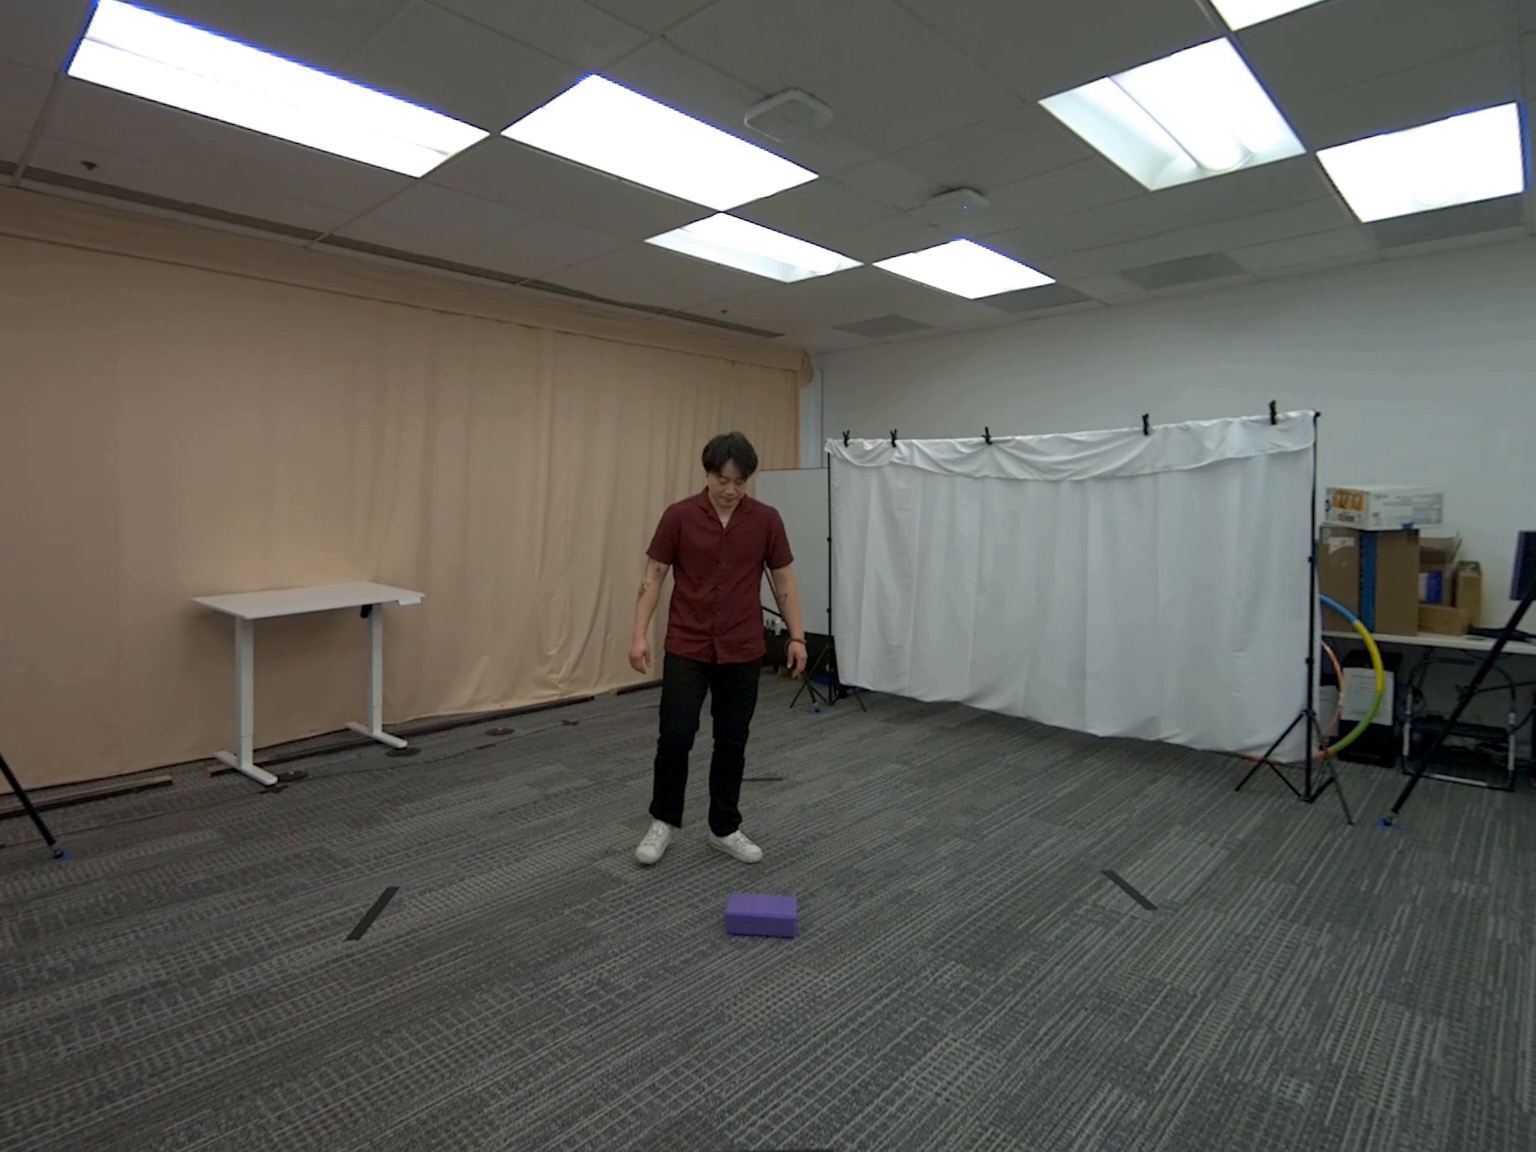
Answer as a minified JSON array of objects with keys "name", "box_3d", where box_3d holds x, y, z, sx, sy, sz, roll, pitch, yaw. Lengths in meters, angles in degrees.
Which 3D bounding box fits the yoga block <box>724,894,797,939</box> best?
[{"name":"yoga block","box_3d":[-0.014,1.119,2.783,0.231,0.076,0.148,0,4,7]}]
